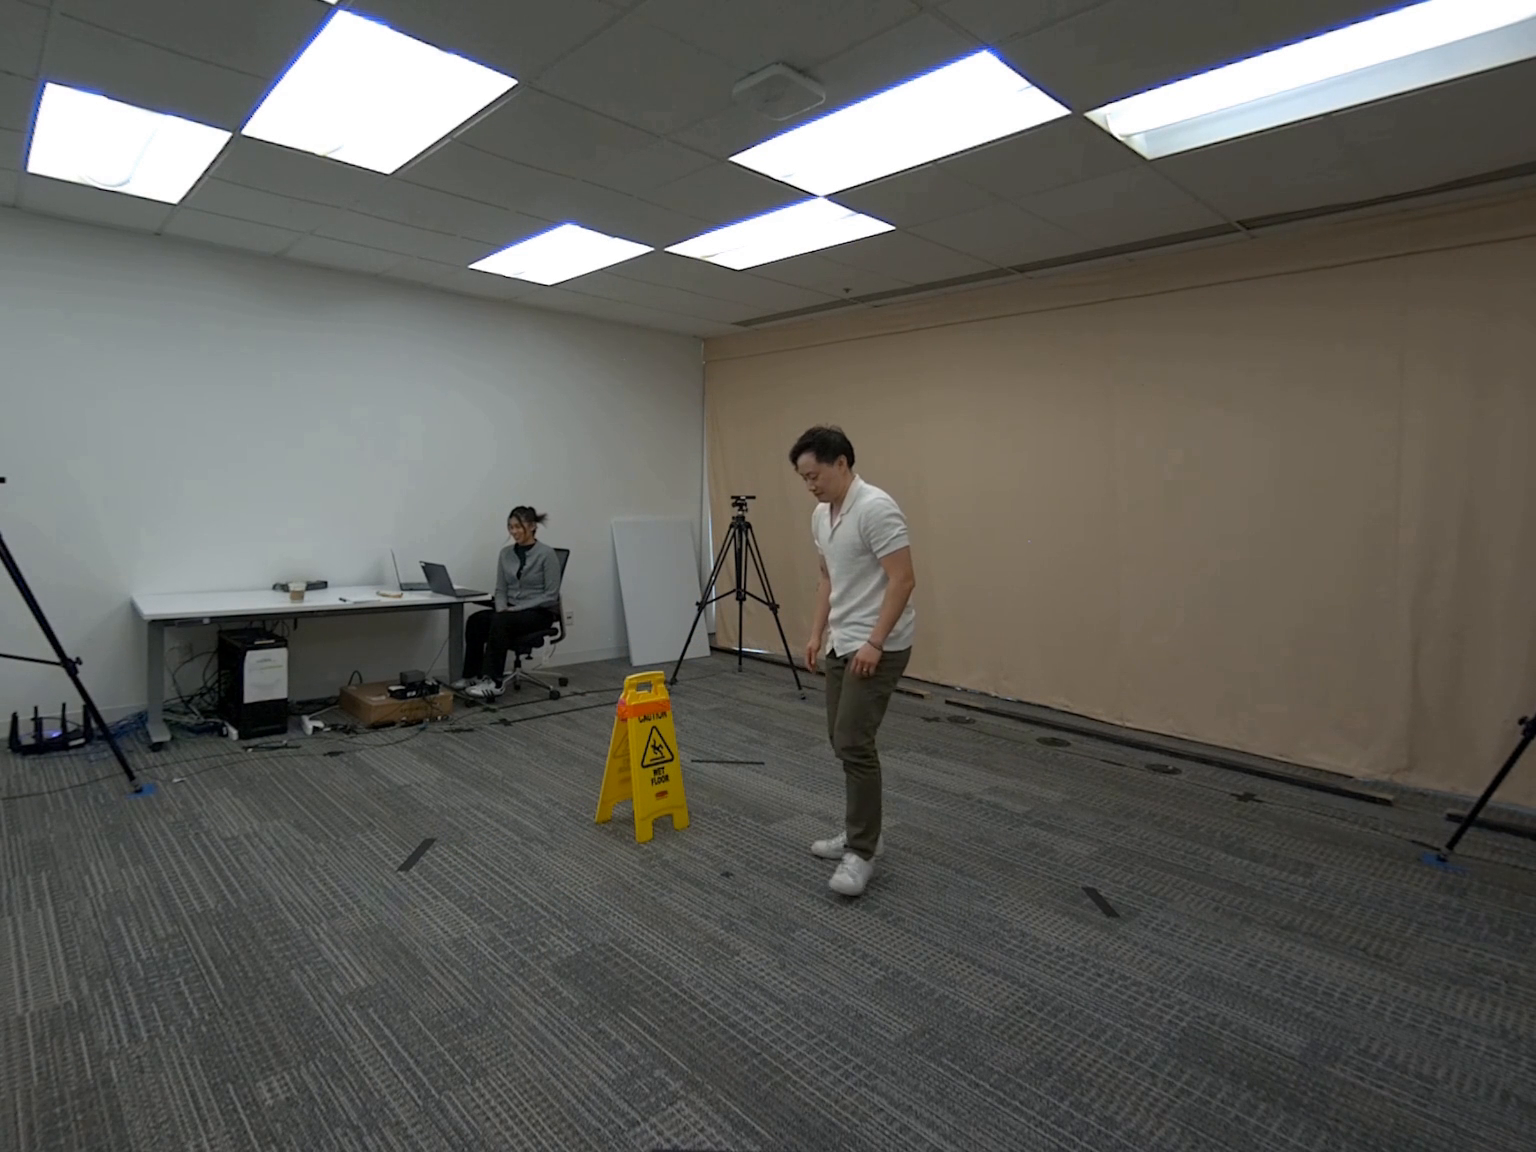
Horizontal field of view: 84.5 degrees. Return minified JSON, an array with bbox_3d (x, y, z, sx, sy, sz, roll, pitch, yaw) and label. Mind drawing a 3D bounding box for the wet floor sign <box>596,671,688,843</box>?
[{"bbox_3d":[-0.536,0.732,3.551,0.297,0.645,0.276,3,3,44],"label":"wet floor sign"}]
